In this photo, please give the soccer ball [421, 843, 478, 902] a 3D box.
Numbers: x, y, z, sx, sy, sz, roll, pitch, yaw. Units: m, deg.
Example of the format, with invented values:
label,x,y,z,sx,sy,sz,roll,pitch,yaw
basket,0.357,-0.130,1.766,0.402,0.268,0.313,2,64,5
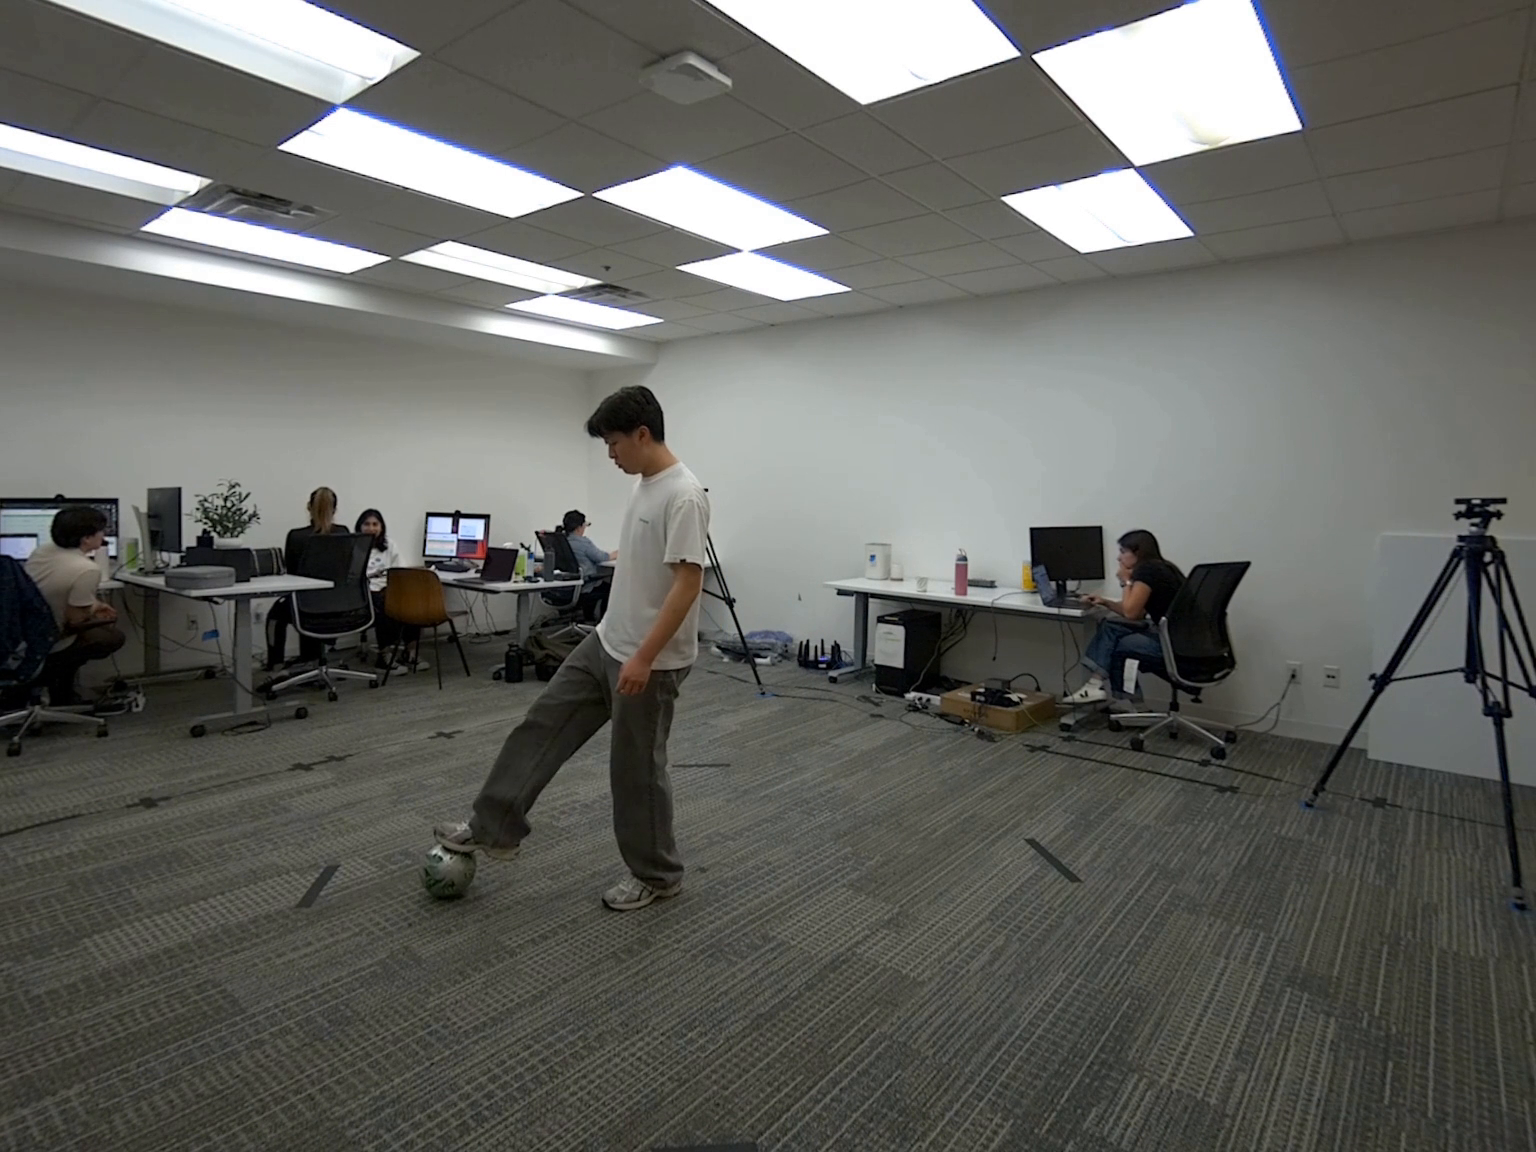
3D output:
label,x,y,z,sx,sy,sz,roll,pitch,yaw
soccer ball,-1.074,0.986,2.894,0.187,0.187,0.188,1,4,-2
